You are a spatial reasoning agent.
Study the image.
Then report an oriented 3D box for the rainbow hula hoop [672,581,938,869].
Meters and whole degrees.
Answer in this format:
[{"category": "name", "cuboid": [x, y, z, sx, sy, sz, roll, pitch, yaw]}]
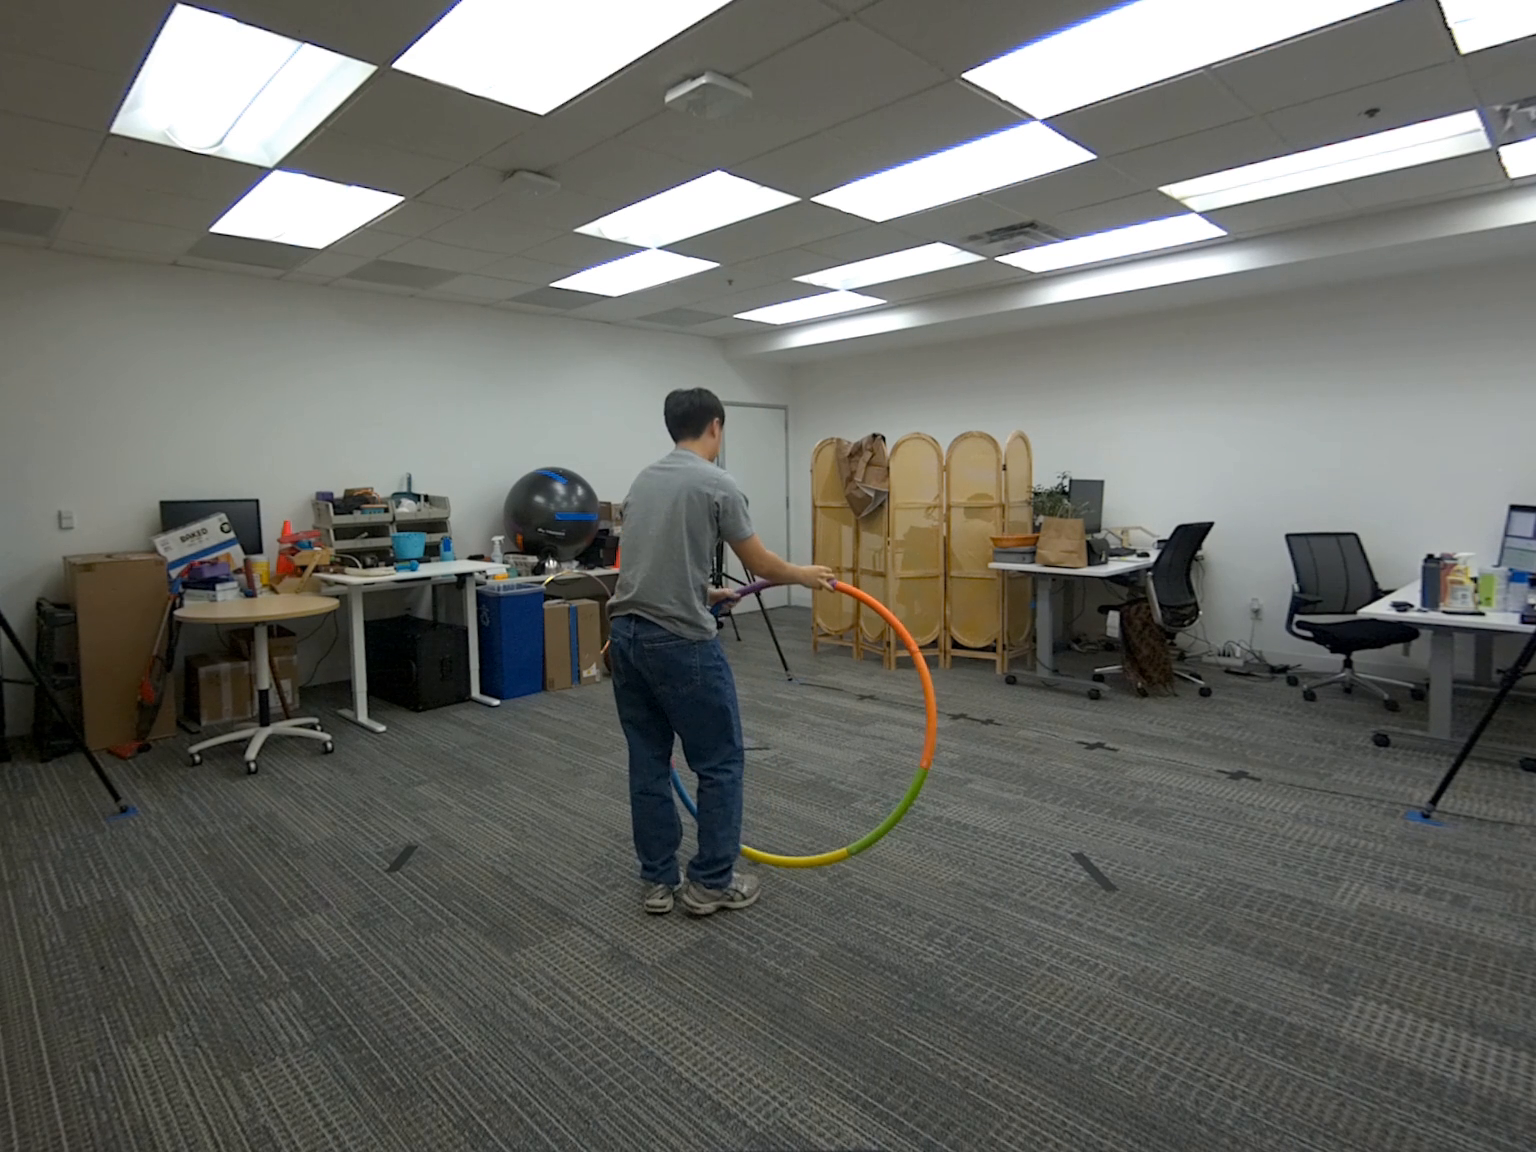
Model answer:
[{"category": "rainbow hula hoop", "cuboid": [0.079, 0.484, 2.961, 0.997, 0.991, 0.034, 0, -17, 20]}]
